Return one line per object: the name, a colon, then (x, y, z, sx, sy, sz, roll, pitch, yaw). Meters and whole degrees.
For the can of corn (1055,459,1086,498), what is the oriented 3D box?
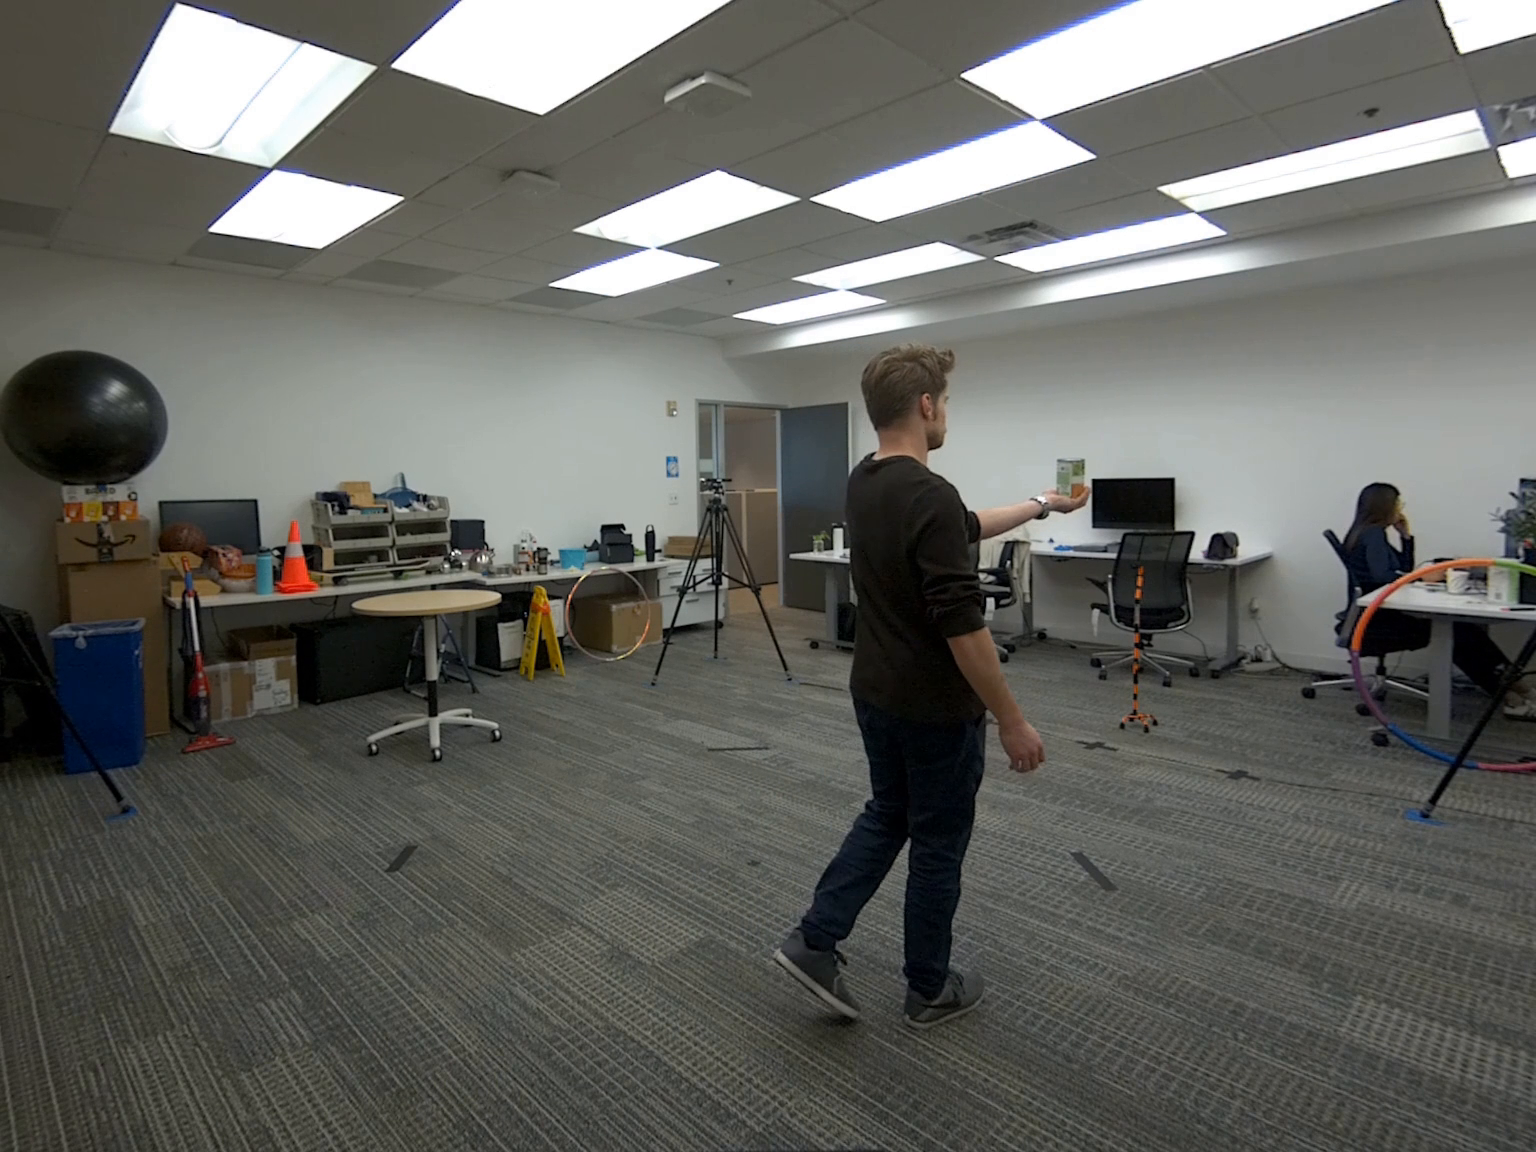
can of corn: (0.868, -0.277, 2.441, 0.074, 0.110, 0.075, -2, 9, -1)
